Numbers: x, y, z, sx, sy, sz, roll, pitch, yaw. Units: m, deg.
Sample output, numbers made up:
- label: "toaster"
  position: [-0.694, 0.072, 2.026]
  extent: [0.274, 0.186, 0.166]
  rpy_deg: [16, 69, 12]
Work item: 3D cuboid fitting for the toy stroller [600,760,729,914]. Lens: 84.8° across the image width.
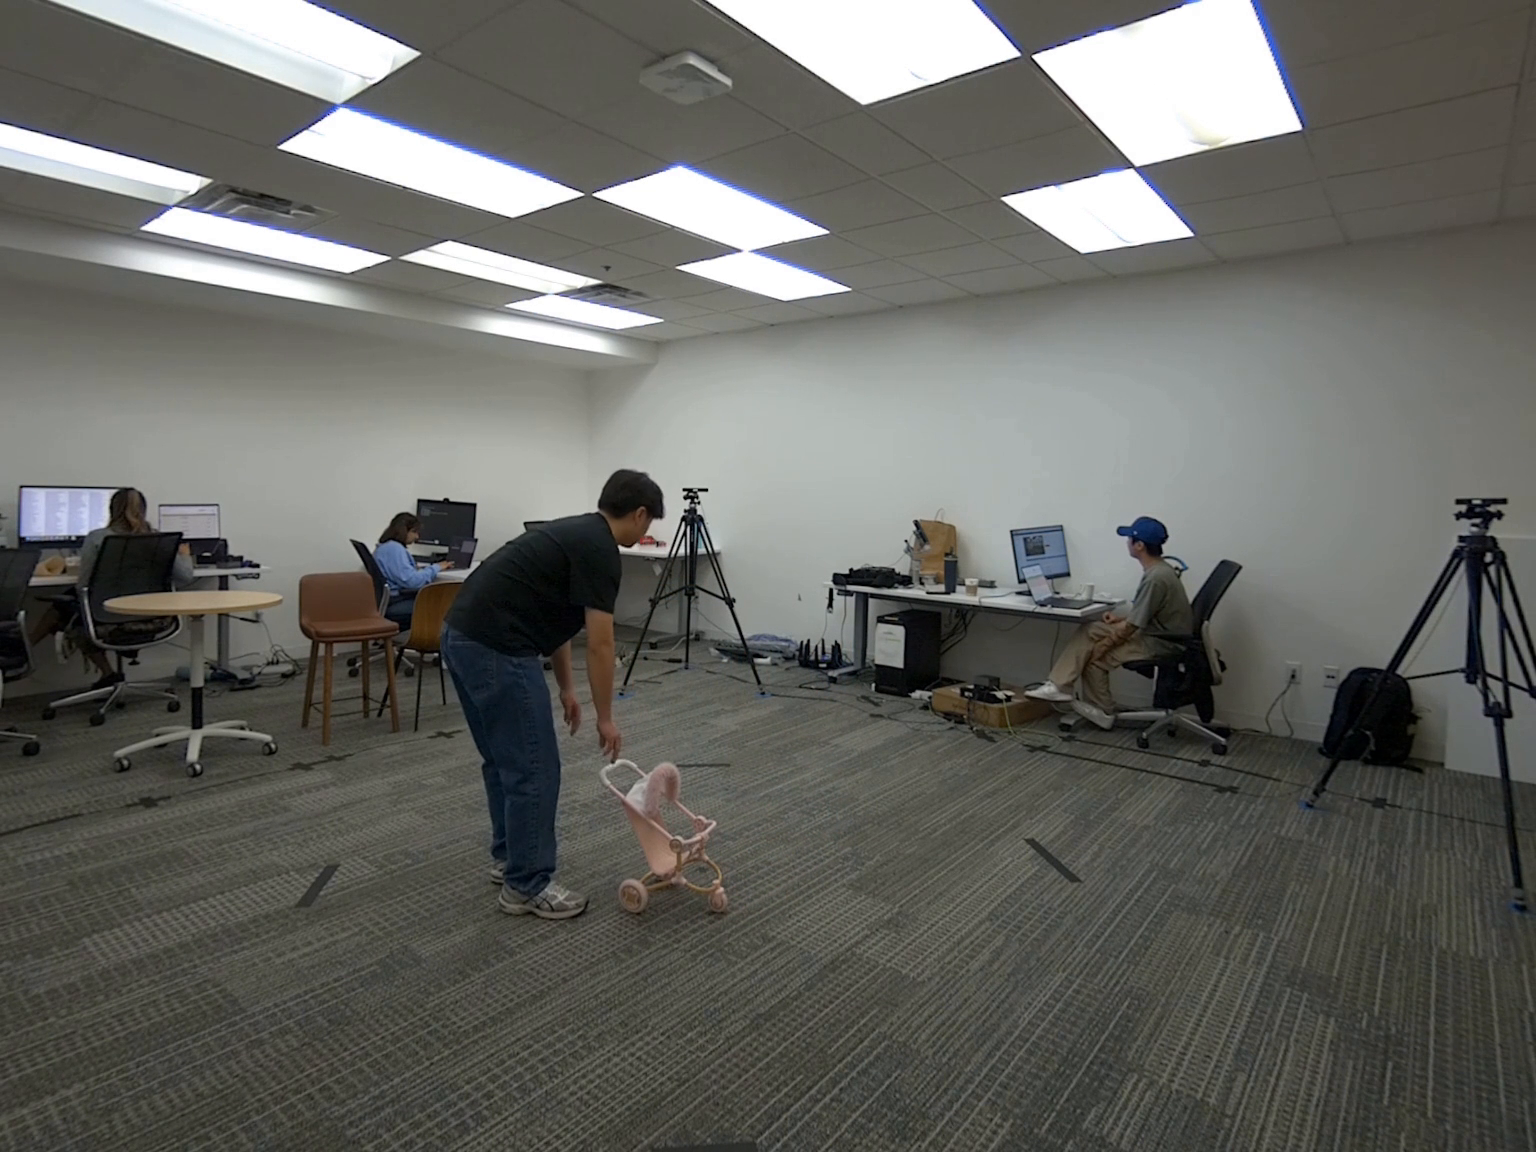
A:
- label: "toy stroller"
  position: [-0.341, 0.873, 2.856]
  extent: [0.347, 0.537, 0.275]
  rpy_deg: [-16, -4, 25]
